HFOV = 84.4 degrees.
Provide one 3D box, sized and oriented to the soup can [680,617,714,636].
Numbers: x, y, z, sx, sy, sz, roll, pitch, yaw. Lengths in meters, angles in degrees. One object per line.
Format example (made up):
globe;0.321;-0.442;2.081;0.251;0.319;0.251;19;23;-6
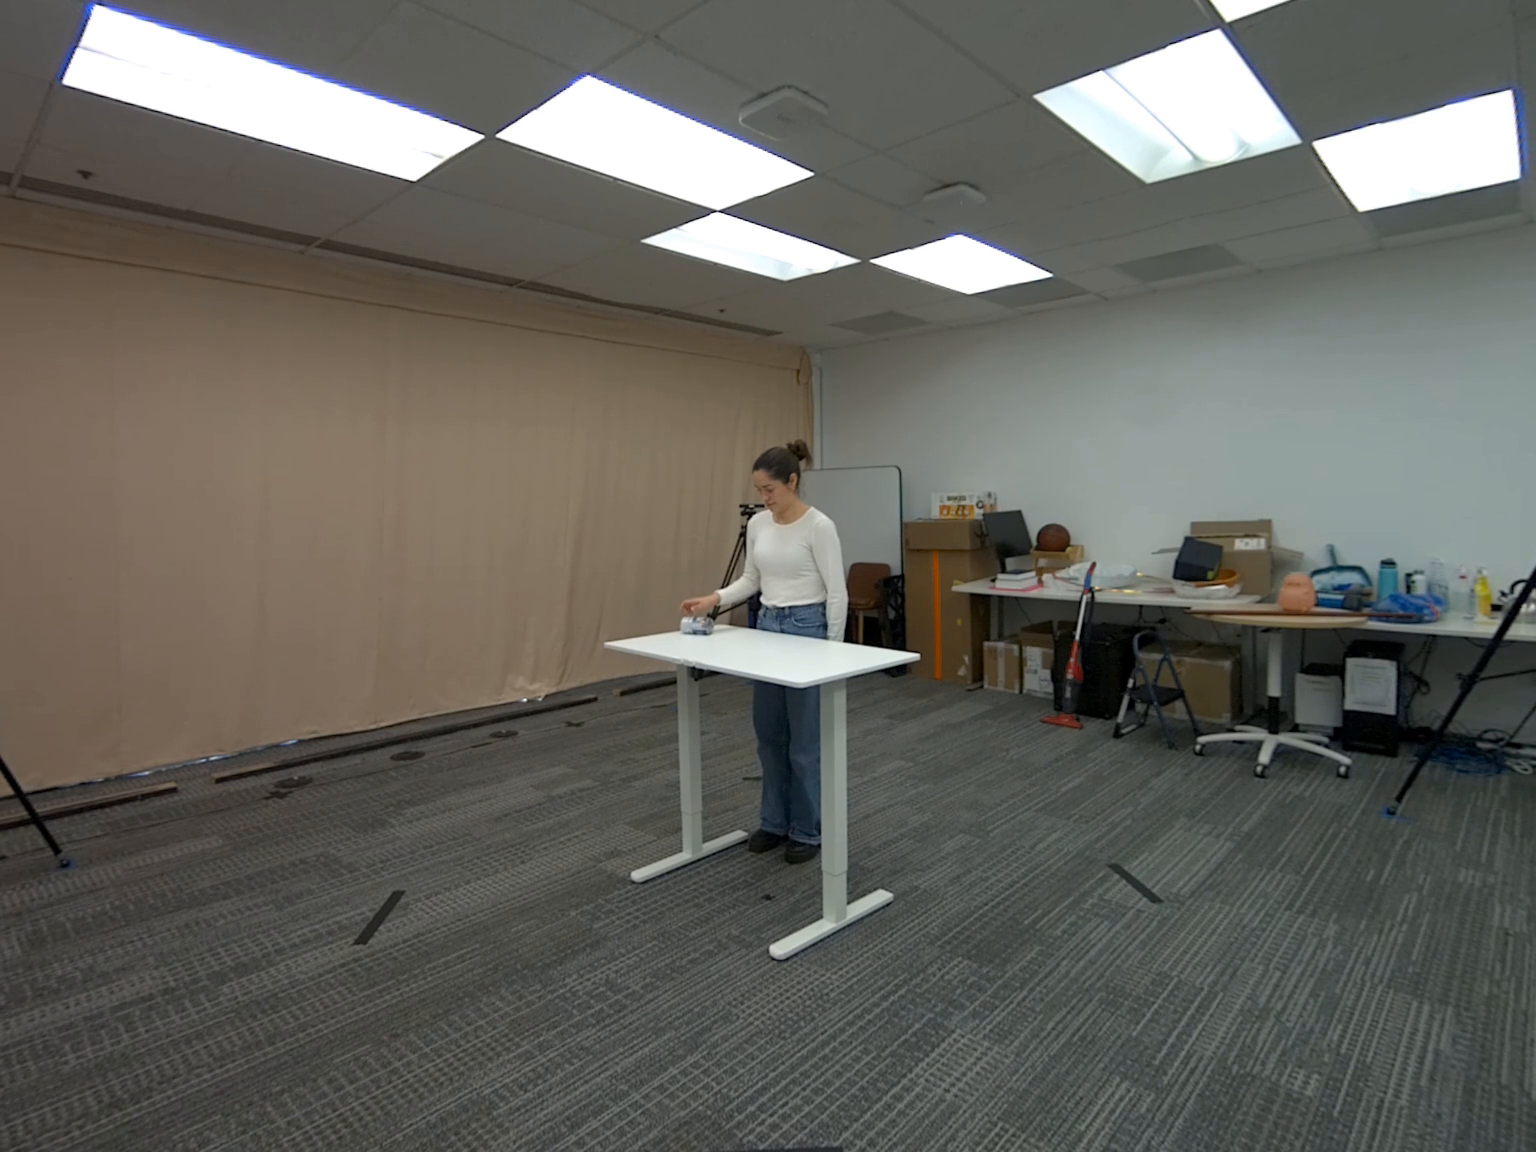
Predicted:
soup can;-0.280;0.196;3.334;0.123;0.067;0.066;0;4;14
